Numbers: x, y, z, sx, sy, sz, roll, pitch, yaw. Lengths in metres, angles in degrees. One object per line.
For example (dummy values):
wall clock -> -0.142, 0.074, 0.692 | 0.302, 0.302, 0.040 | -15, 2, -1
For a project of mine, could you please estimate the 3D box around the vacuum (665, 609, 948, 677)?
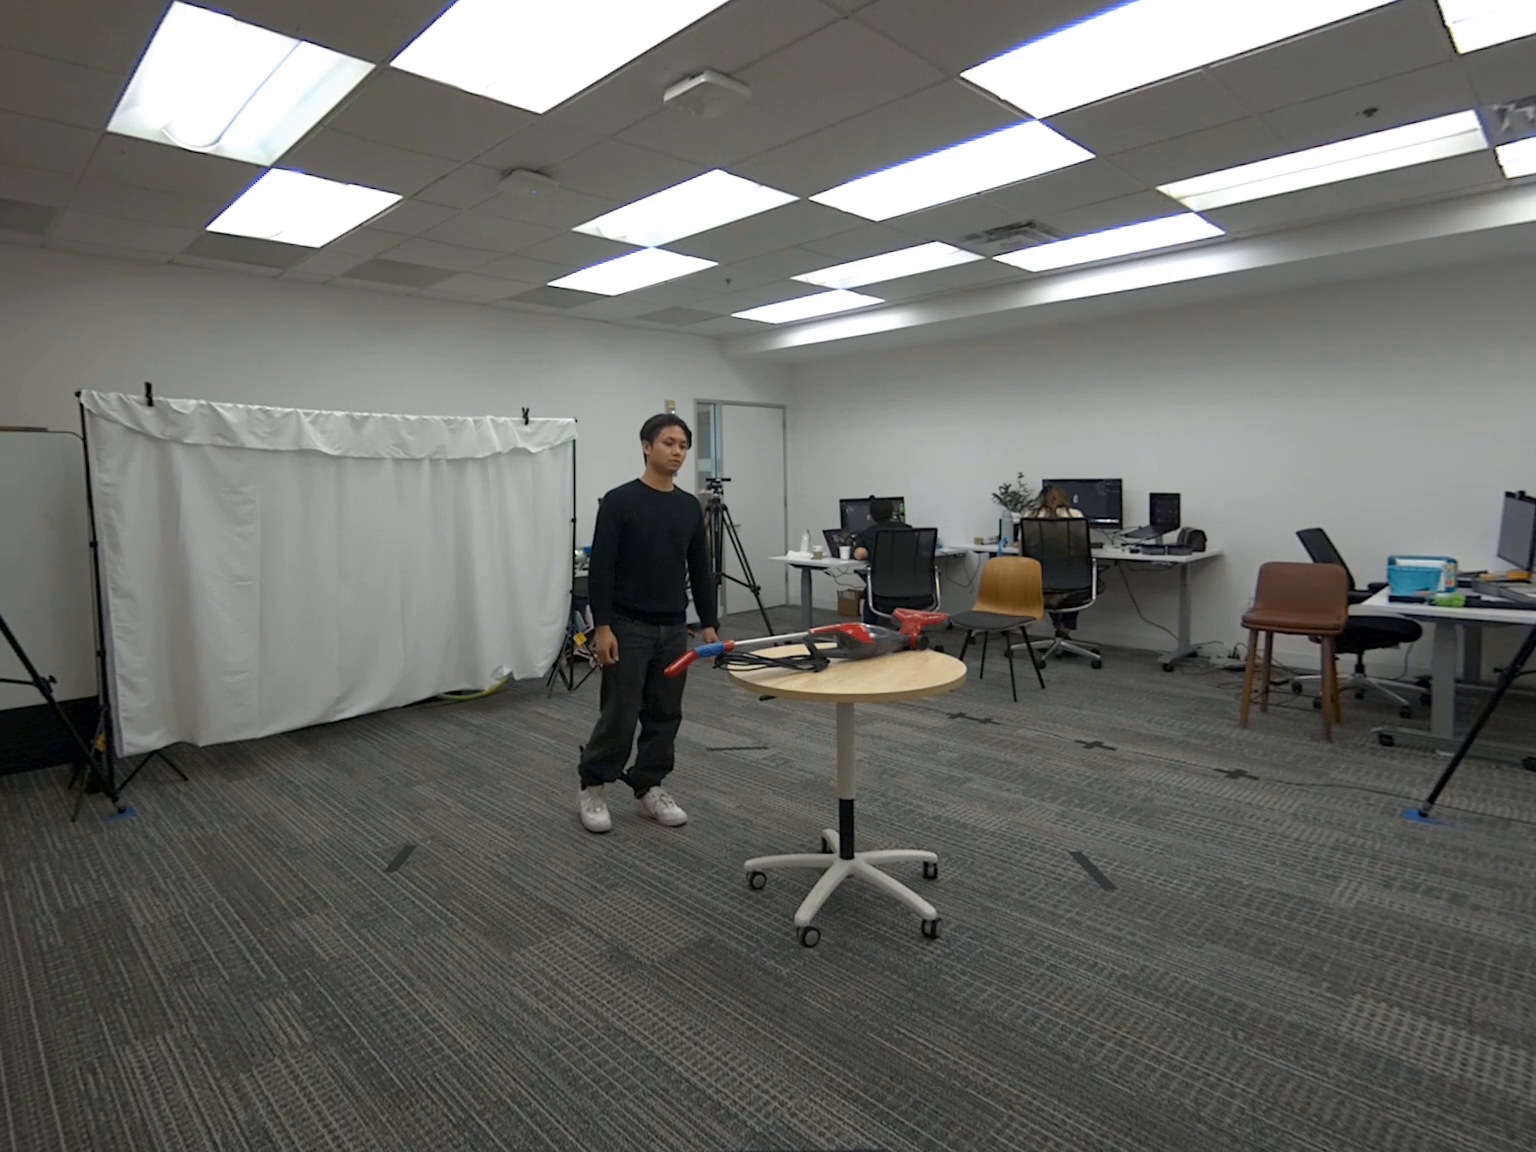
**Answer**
vacuum -> 0.138, 0.243, 2.747 | 1.023, 0.143, 0.260 | -6, 7, -36
